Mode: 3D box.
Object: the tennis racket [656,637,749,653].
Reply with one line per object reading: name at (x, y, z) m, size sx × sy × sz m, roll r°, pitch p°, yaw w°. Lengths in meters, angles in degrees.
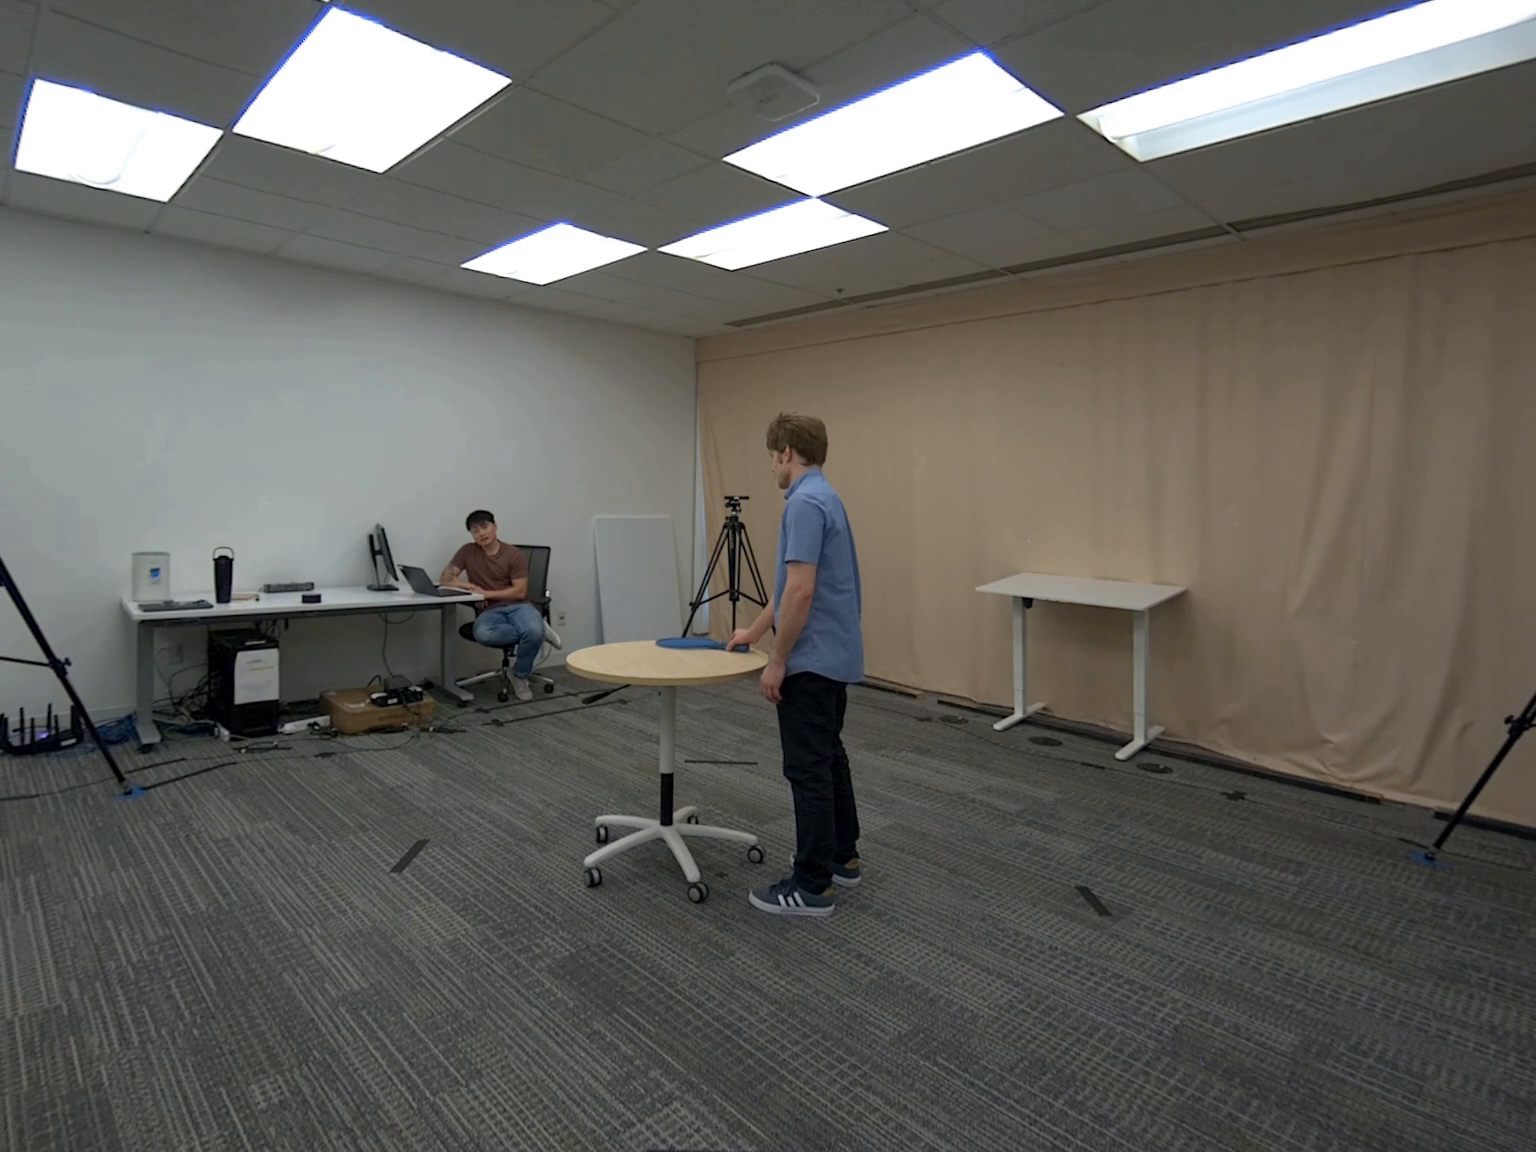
tennis racket at (-0.273, 0.279, 3.428) m, size 0.442 × 0.031 × 0.210 m, roll 2°, pitch 7°, yaw 29°
